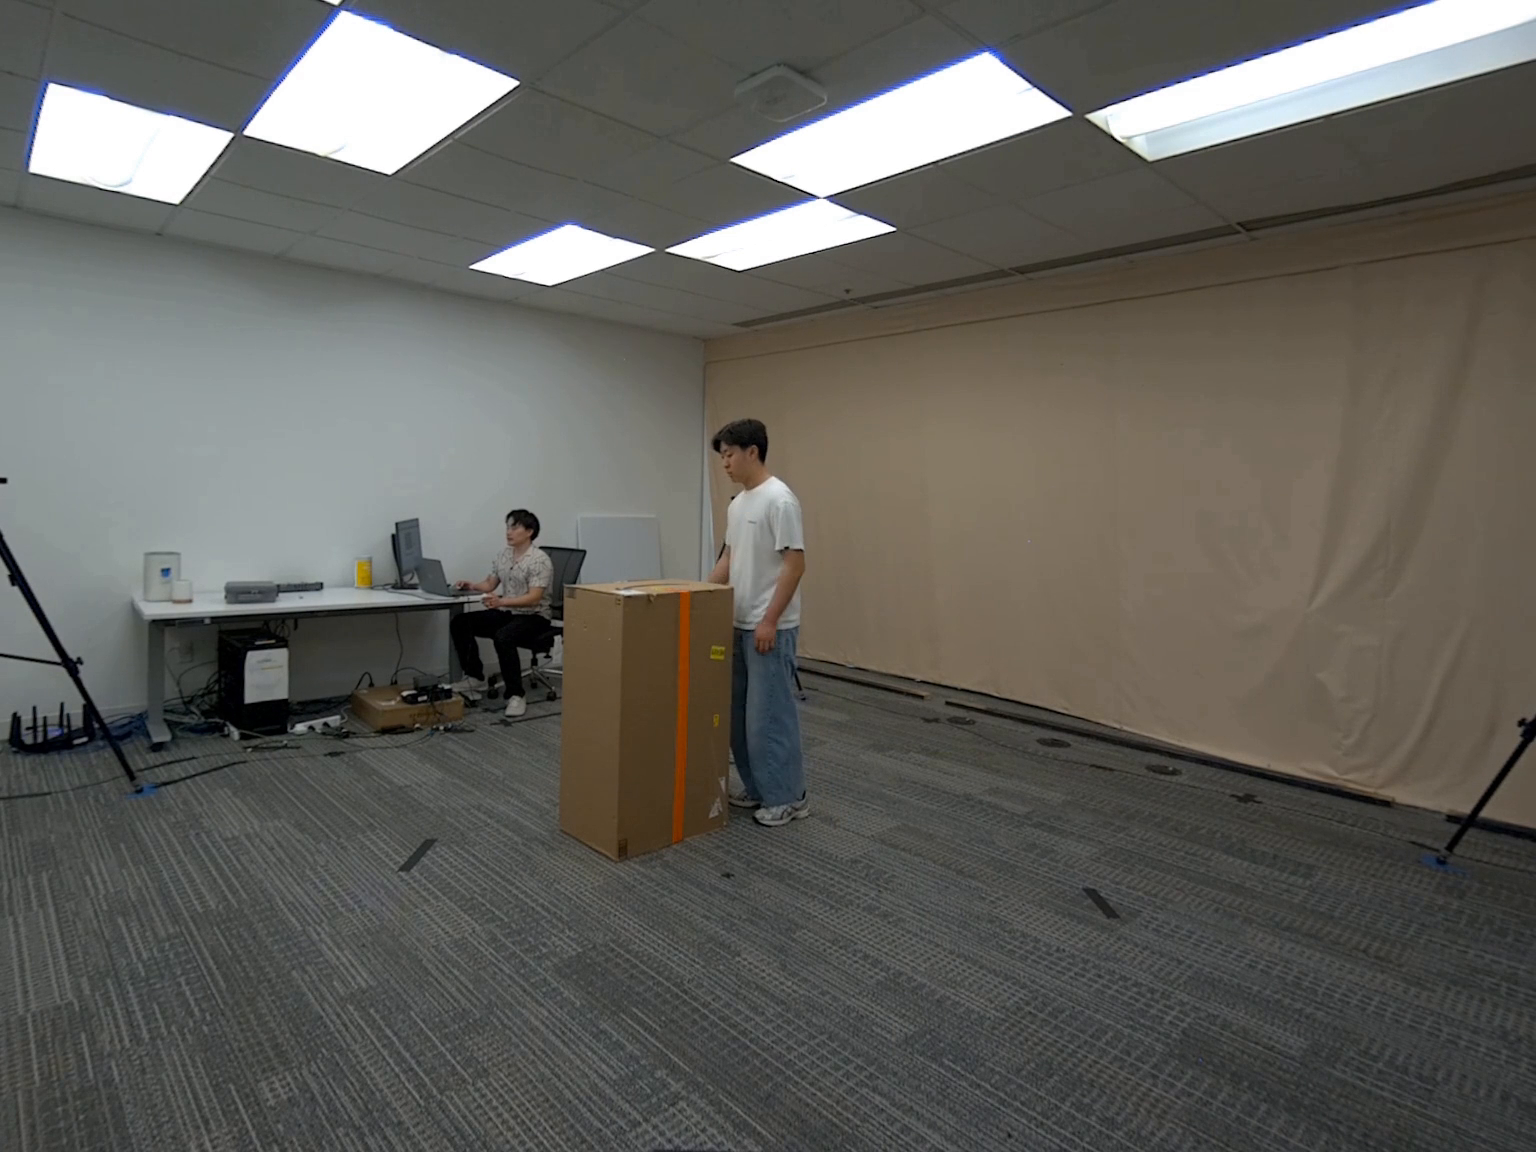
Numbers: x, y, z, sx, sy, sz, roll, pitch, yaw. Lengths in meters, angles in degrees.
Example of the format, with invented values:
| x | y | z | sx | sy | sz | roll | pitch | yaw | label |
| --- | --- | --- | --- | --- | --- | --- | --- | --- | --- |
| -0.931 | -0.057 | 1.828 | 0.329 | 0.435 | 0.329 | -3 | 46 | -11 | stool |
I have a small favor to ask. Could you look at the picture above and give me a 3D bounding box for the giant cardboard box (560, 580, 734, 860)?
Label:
| x | y | z | sx | sy | sz | roll | pitch | yaw | label |
| --- | --- | --- | --- | --- | --- | --- | --- | --- | --- |
| -0.514 | 0.554 | 3.507 | 0.564 | 1.023 | 0.437 | -1 | 5 | -45 | giant cardboard box |
